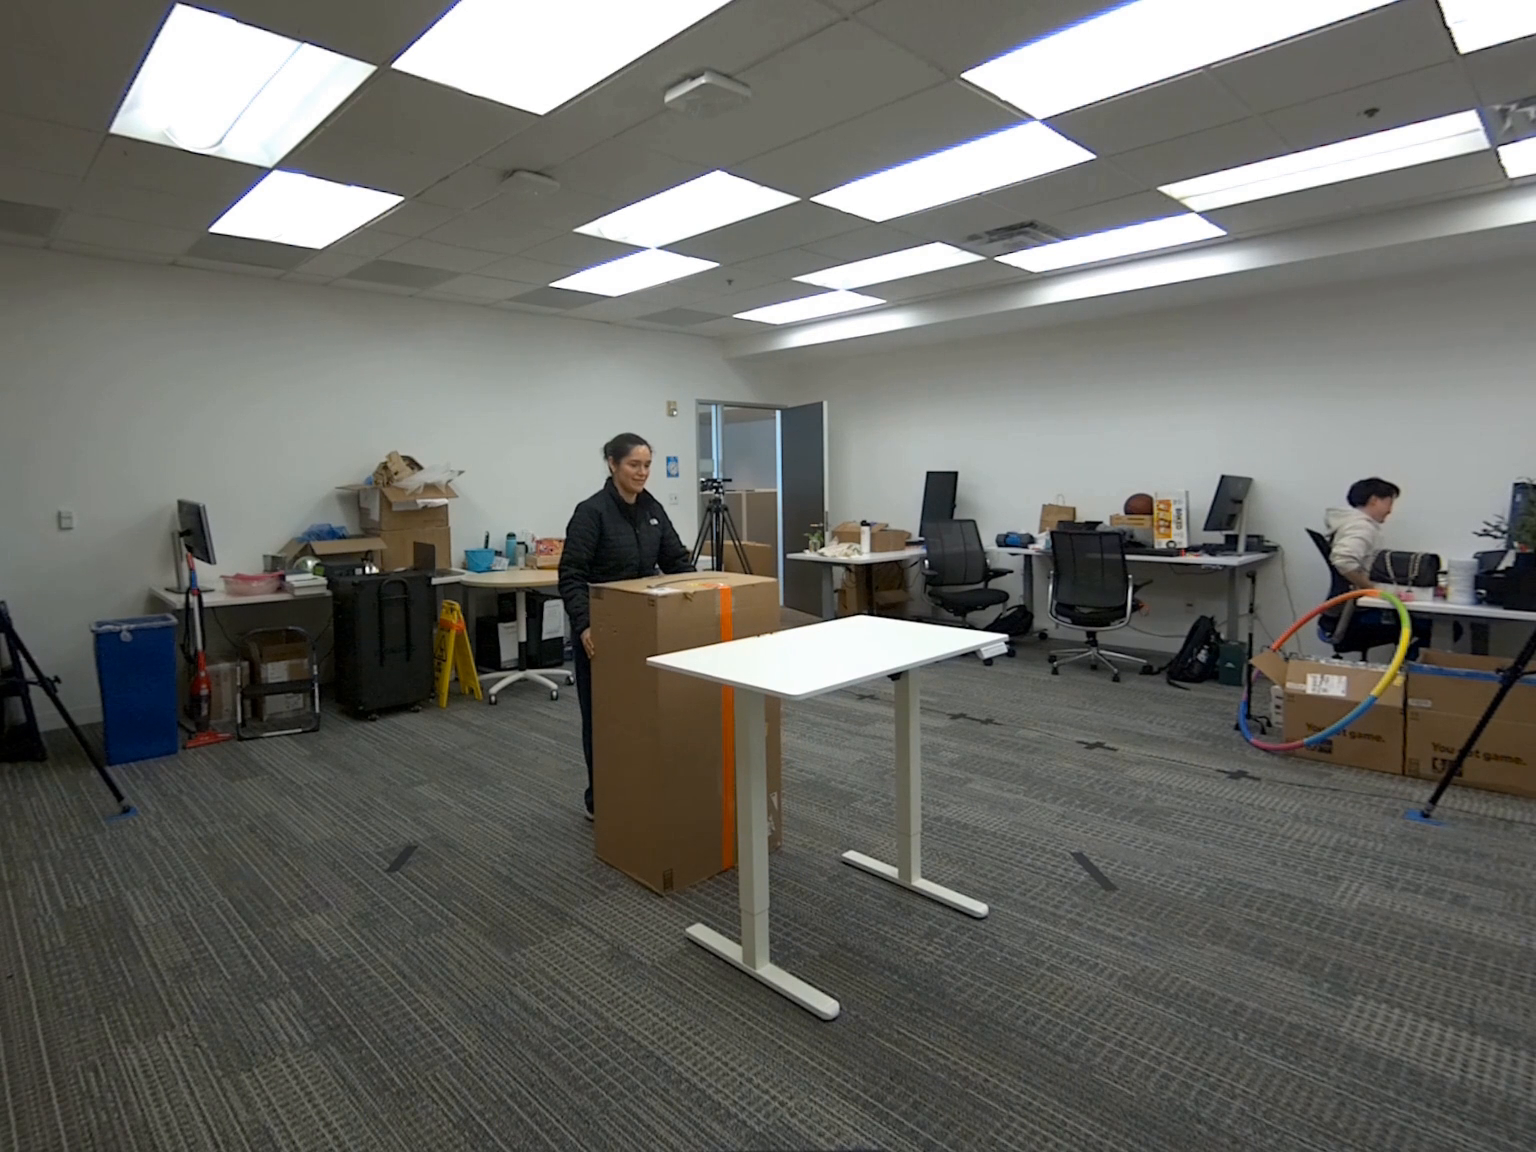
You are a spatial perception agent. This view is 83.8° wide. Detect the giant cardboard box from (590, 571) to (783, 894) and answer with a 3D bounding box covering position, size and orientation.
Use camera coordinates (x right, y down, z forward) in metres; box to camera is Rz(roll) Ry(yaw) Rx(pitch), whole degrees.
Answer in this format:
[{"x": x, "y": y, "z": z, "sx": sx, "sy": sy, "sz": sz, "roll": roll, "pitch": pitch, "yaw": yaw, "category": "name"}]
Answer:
[{"x": -0.297, "y": 0.531, "z": 3.182, "sx": 0.562, "sy": 1.022, "sz": 0.439, "roll": -5, "pitch": 5, "yaw": -43, "category": "giant cardboard box"}]
